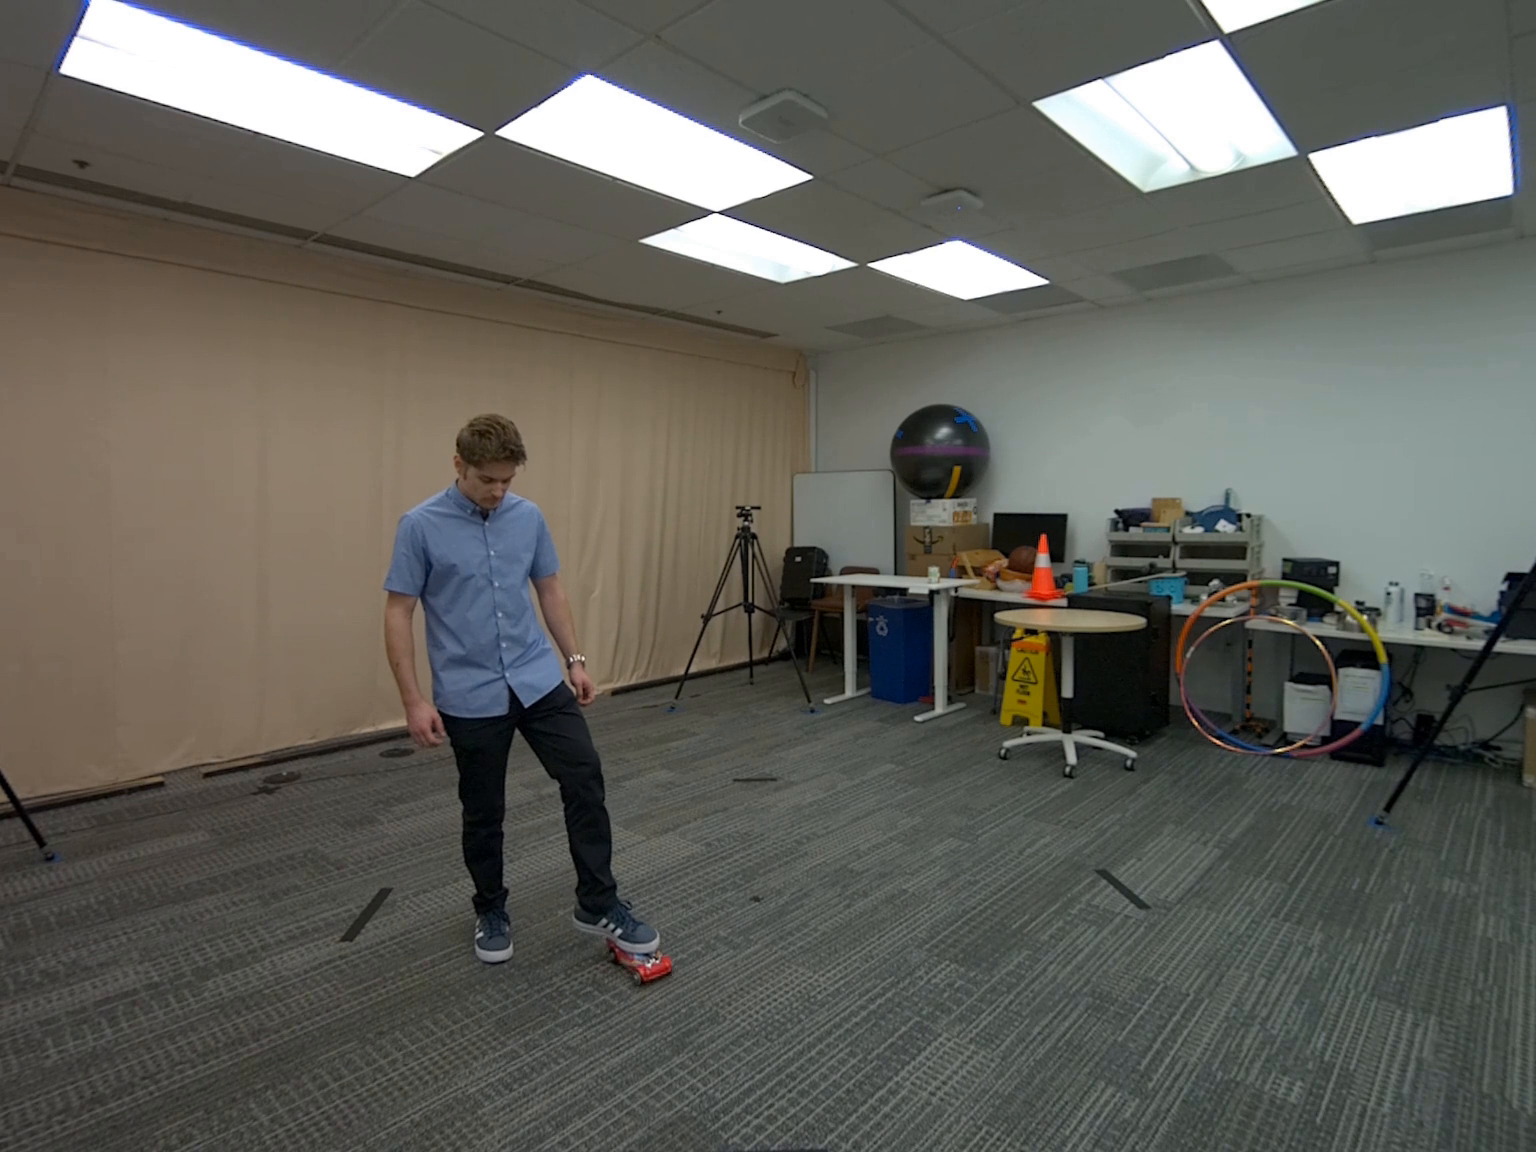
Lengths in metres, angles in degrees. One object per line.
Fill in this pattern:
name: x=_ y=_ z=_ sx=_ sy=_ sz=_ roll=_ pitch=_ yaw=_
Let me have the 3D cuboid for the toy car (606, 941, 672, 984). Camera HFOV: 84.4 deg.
toy car: x=-0.395 y=1.154 z=2.549 sx=0.126 sy=0.082 sz=0.264 roll=-6 pitch=17 yaw=-36
